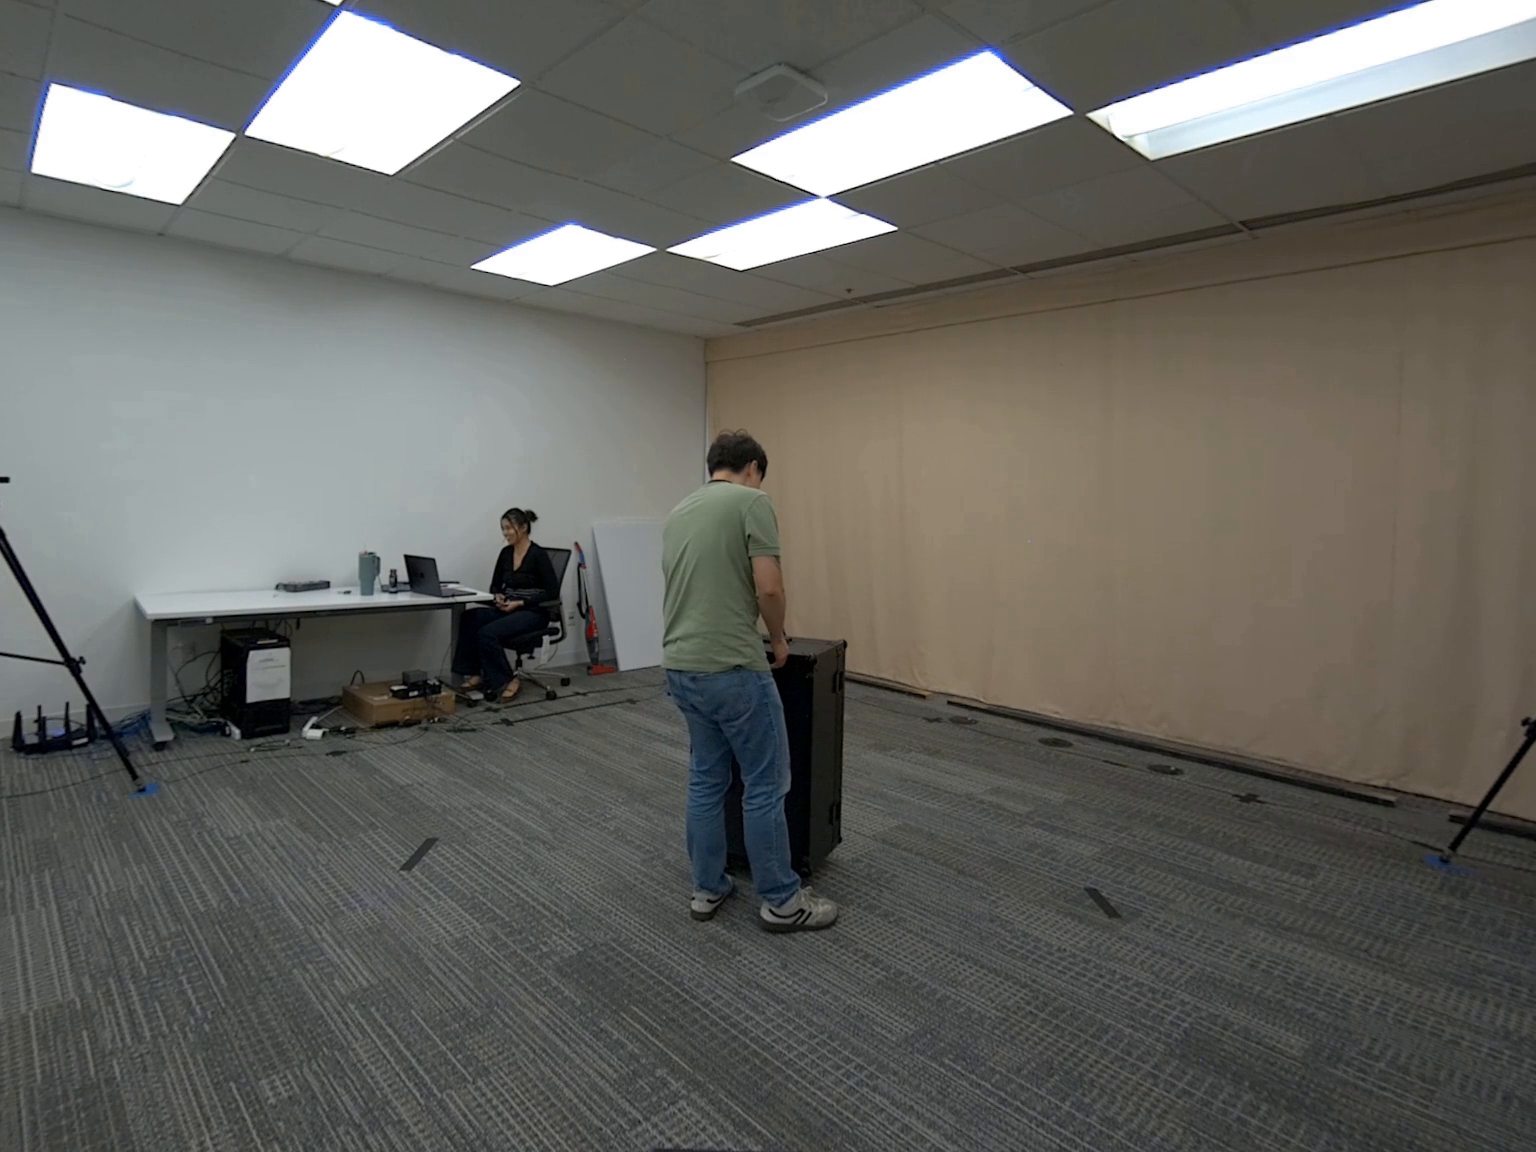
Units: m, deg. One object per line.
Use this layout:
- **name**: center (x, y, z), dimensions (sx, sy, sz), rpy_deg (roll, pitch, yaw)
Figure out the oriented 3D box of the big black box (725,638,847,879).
- **big black box**: center (-0.002, 0.673, 3.167), dimensions (0.531, 0.859, 0.390), rpy_deg (3, 5, 26)
